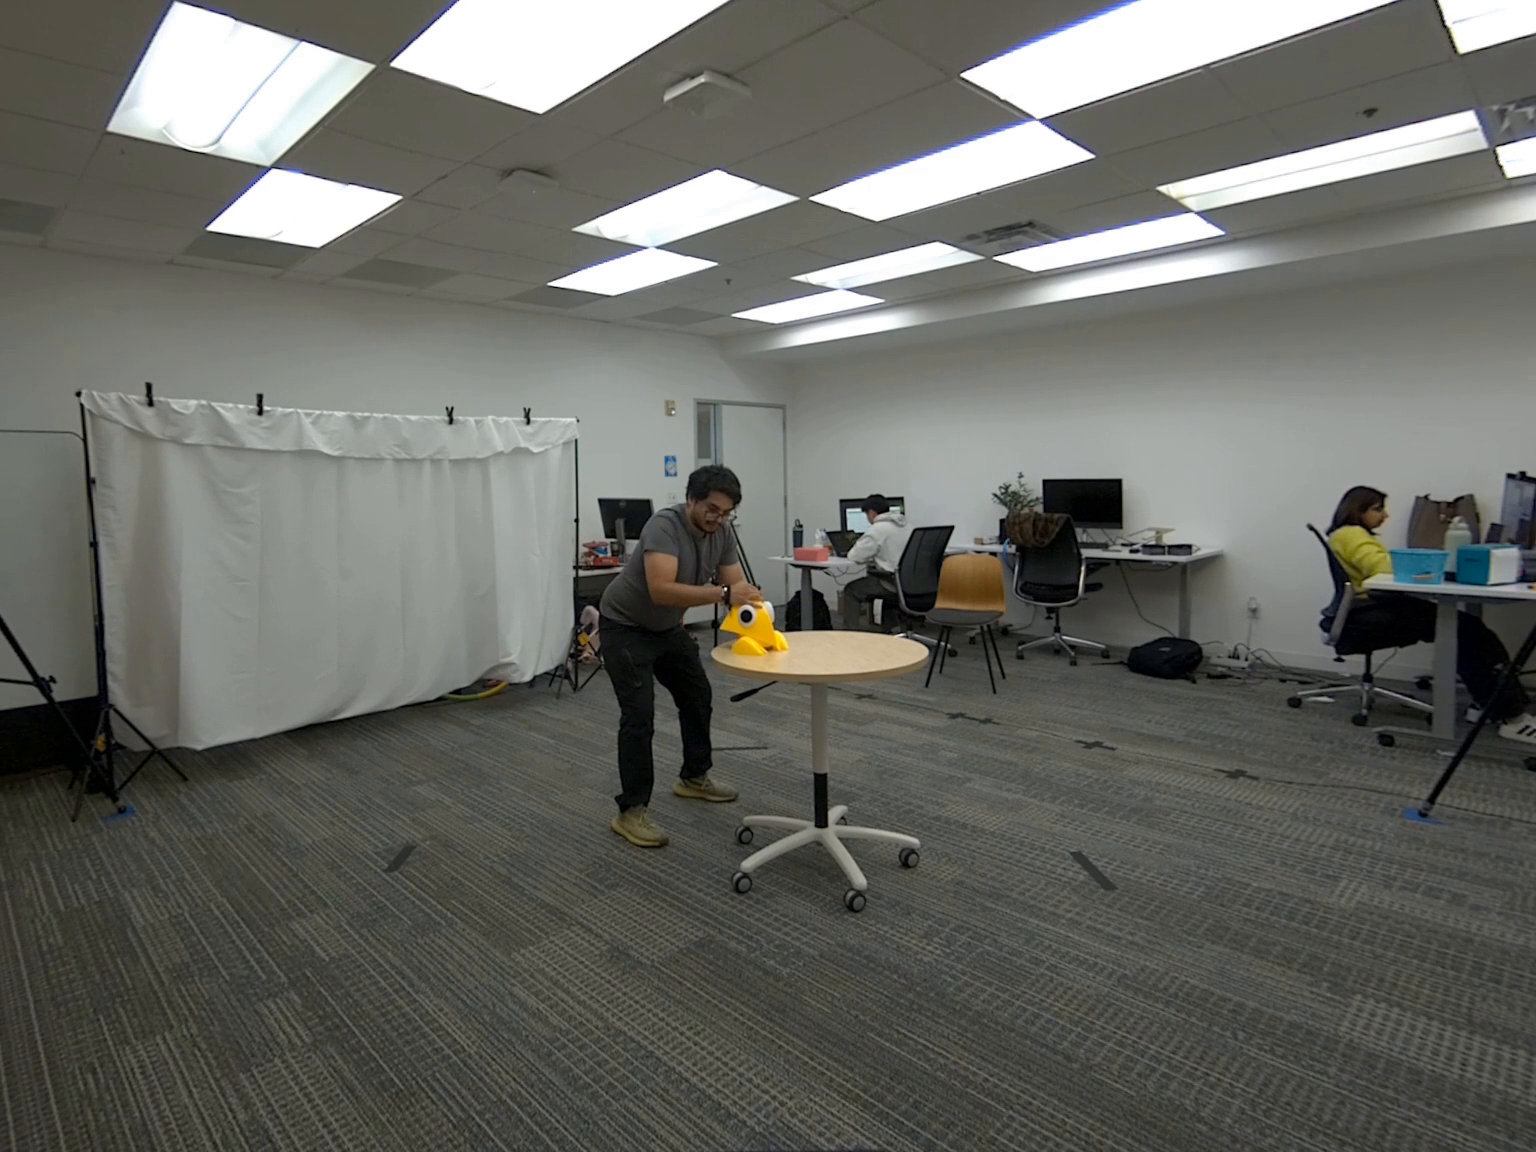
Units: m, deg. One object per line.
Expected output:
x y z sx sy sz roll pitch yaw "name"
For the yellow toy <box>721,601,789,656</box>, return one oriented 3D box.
-0.035 0.152 3.088 0.199 0.230 0.199 -5 6 -43 "yellow toy"
